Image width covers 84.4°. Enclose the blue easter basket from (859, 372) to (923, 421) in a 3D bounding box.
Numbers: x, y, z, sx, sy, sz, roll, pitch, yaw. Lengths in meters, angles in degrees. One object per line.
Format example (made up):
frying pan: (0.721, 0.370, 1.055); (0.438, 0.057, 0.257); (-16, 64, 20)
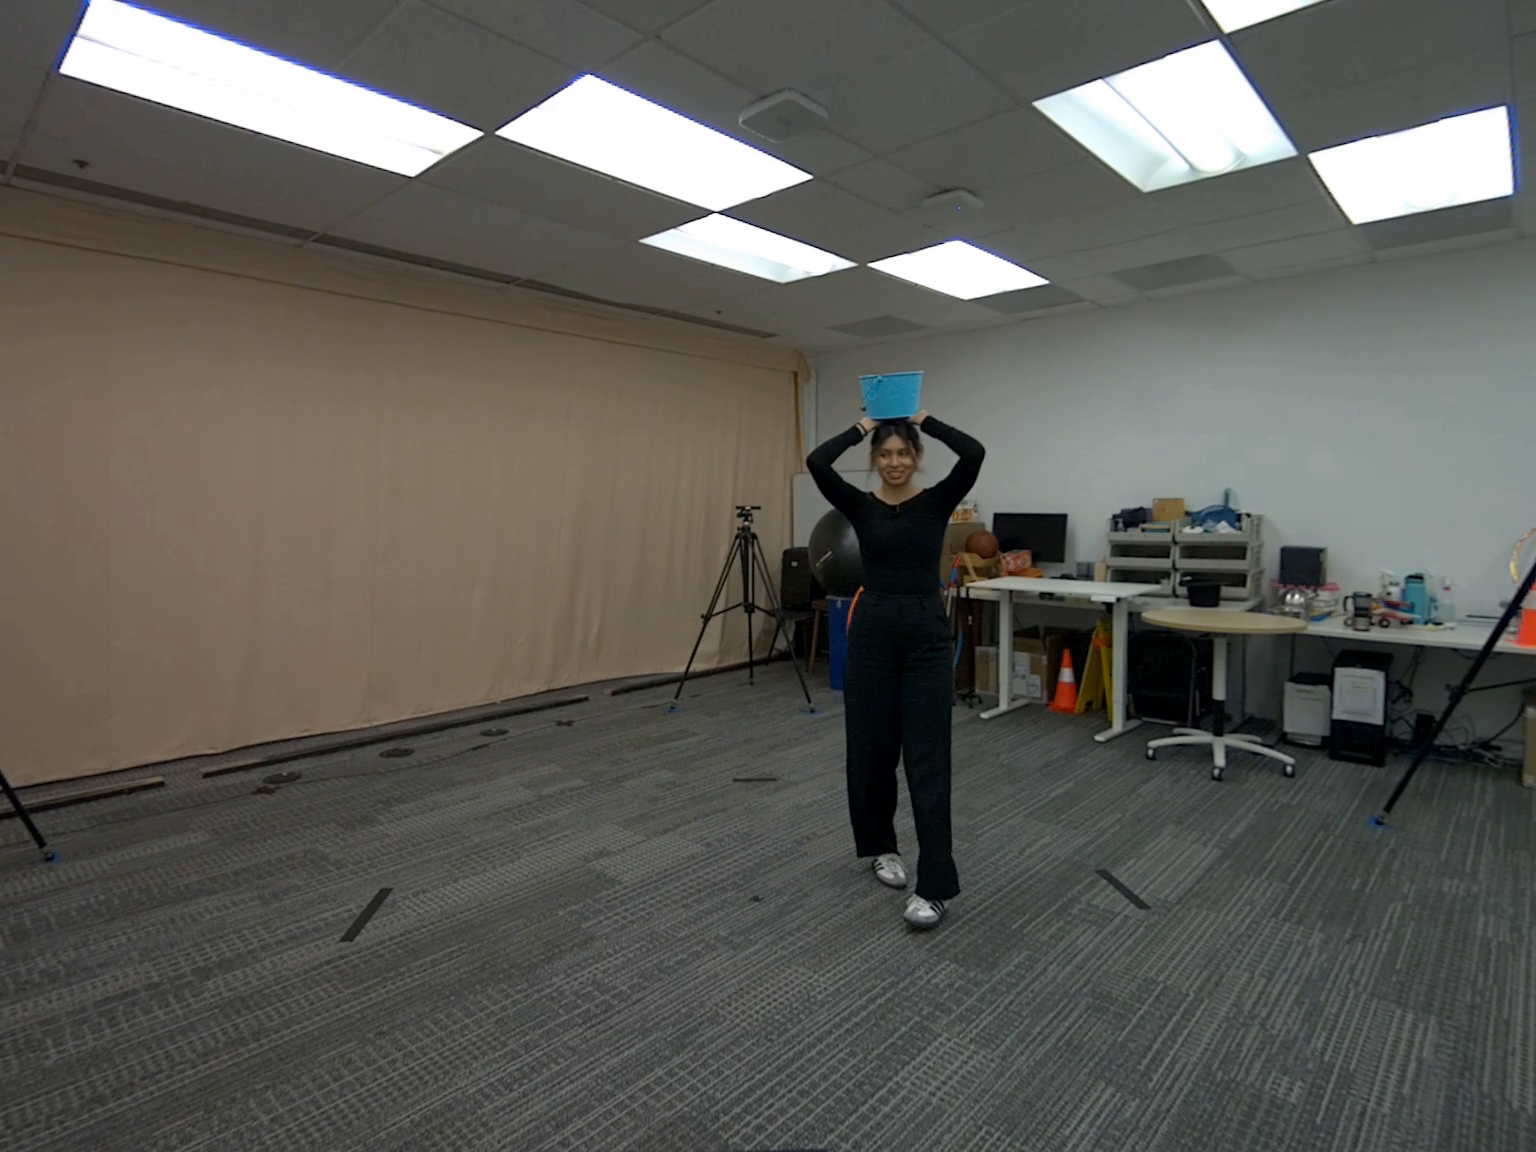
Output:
blue easter basket: (0.451, -0.657, 3.057); (0.243, 0.155, 0.245); (-3, 11, -1)
